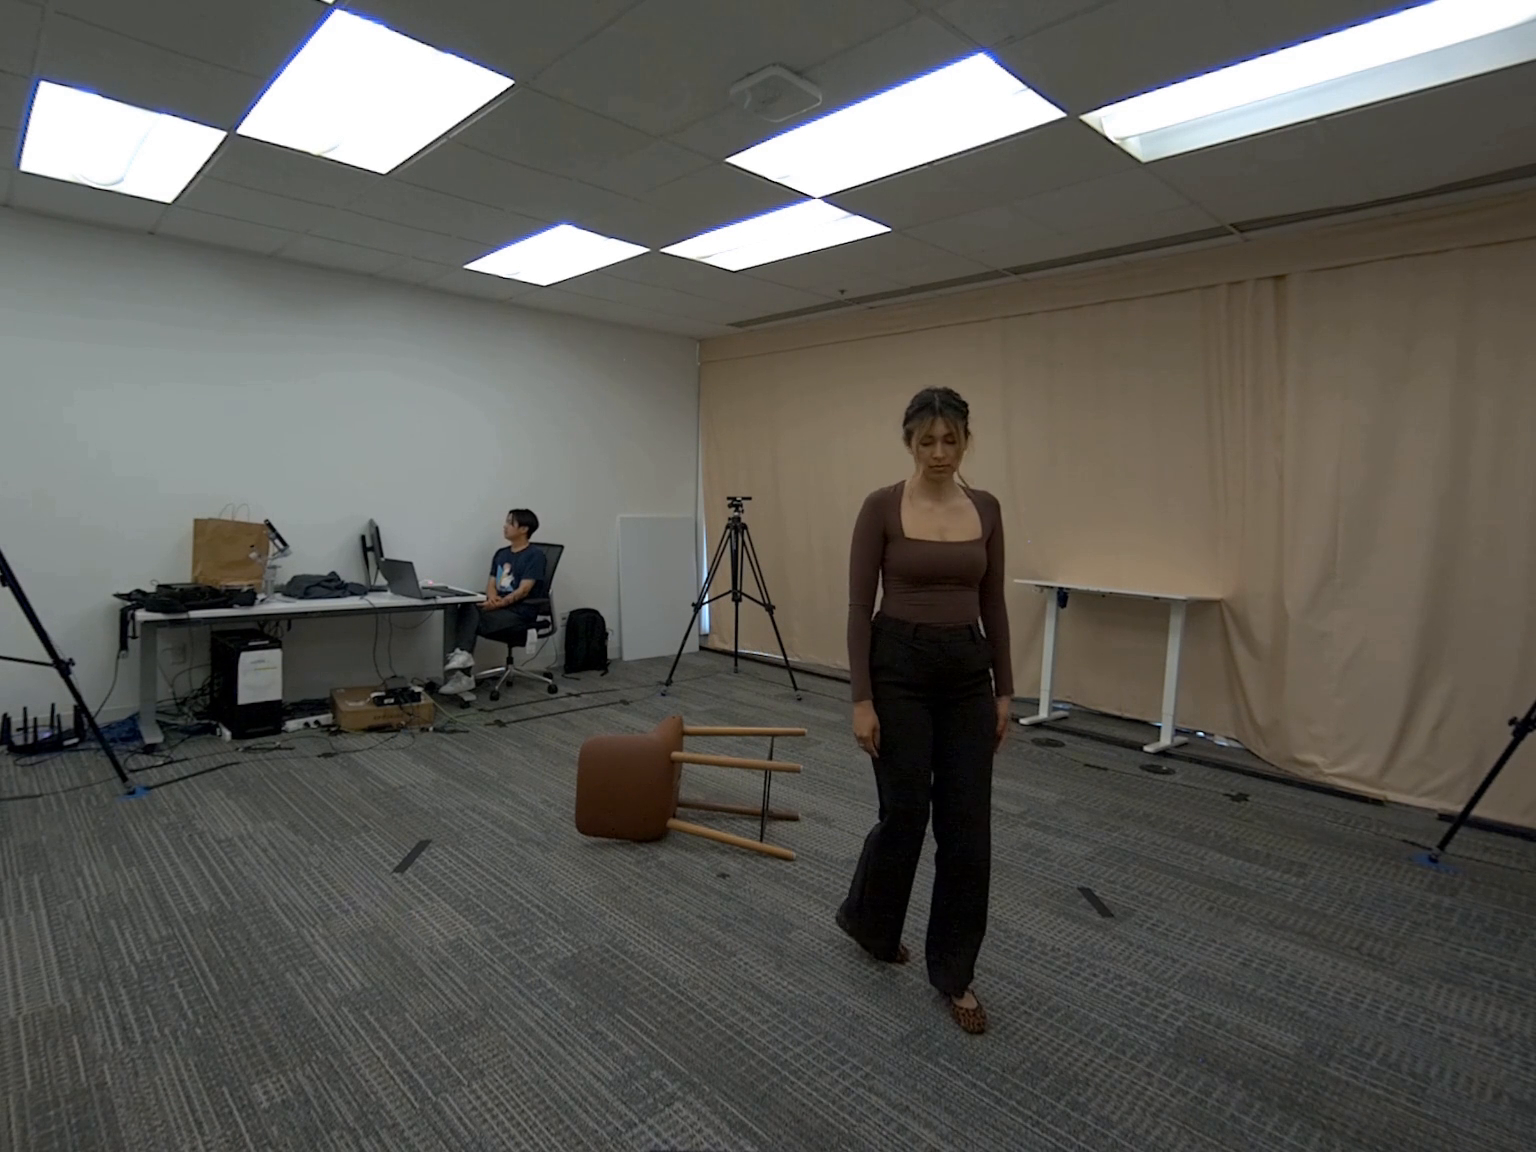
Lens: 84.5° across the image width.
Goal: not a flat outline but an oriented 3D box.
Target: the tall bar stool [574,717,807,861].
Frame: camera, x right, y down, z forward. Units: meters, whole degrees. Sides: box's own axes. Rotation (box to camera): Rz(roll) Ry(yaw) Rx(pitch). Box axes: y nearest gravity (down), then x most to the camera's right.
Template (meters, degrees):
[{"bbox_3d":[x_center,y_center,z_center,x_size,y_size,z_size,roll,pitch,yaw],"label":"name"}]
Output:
[{"bbox_3d":[-0.307,0.854,3.490,0.893,0.455,0.467,4,6,4],"label":"tall bar stool"}]
